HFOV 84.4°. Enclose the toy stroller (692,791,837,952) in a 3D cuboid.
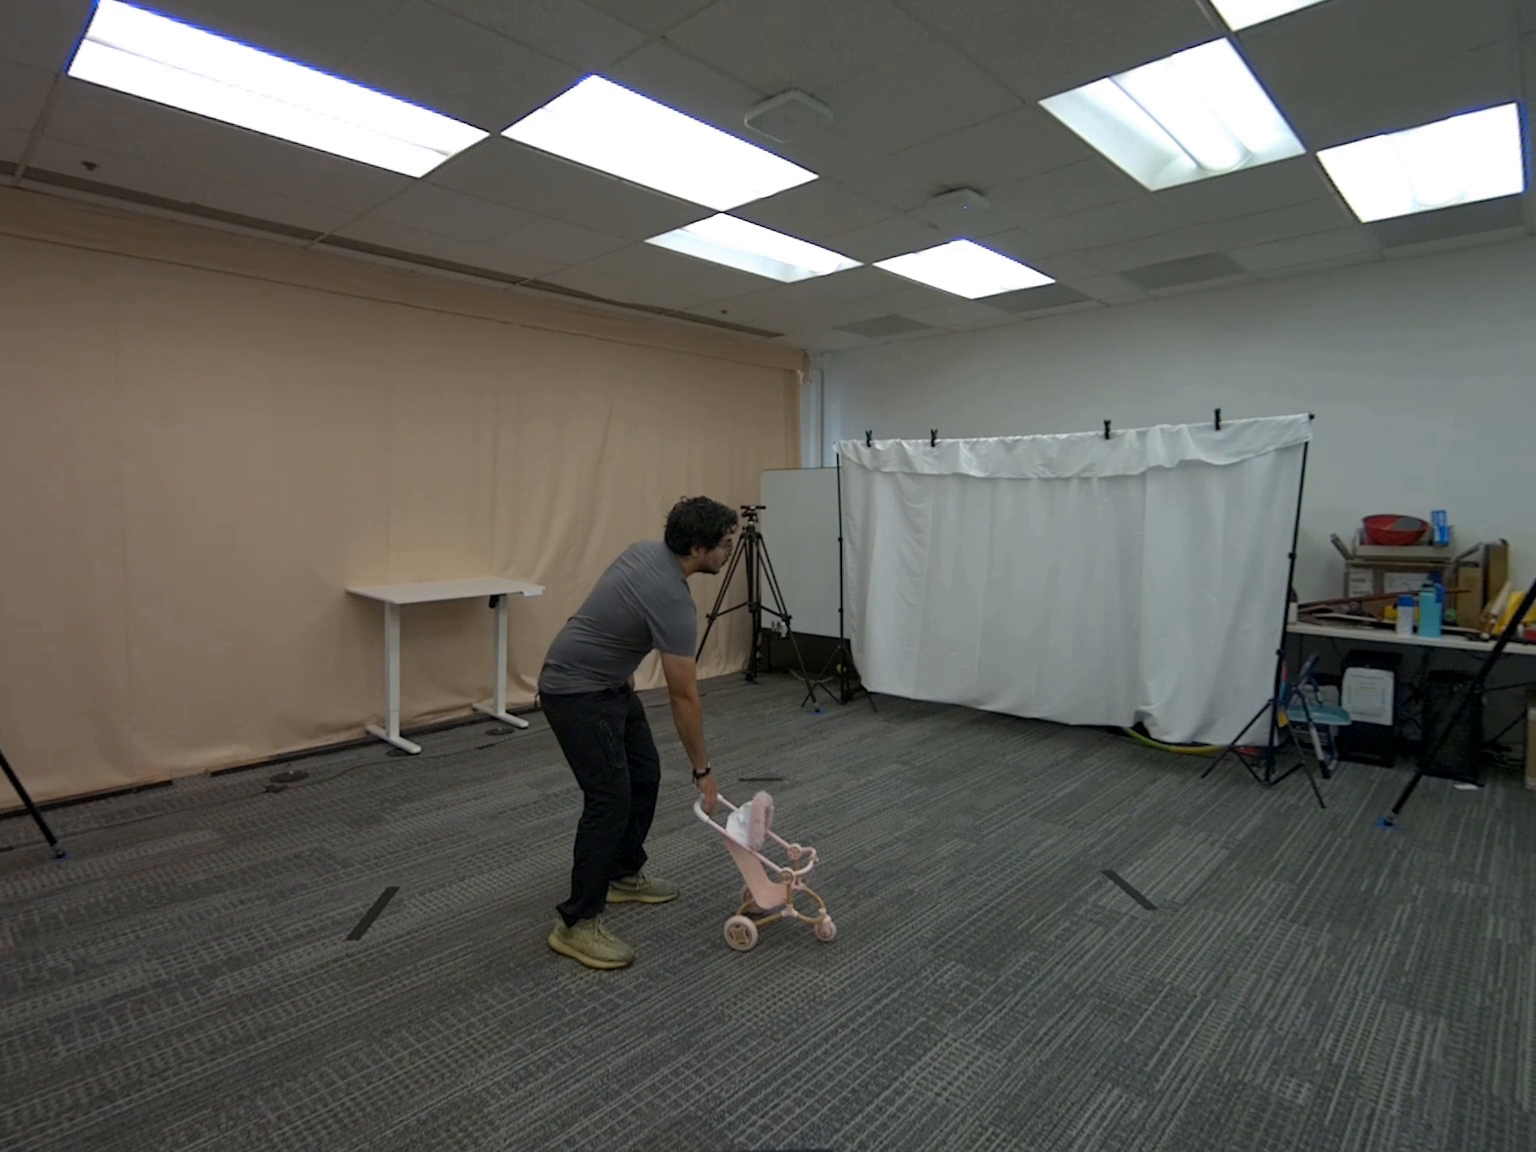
[{"bbox_3d":[0.004,0.945,2.726,0.346,0.536,0.277,-16,-2,17],"label":"toy stroller"}]
